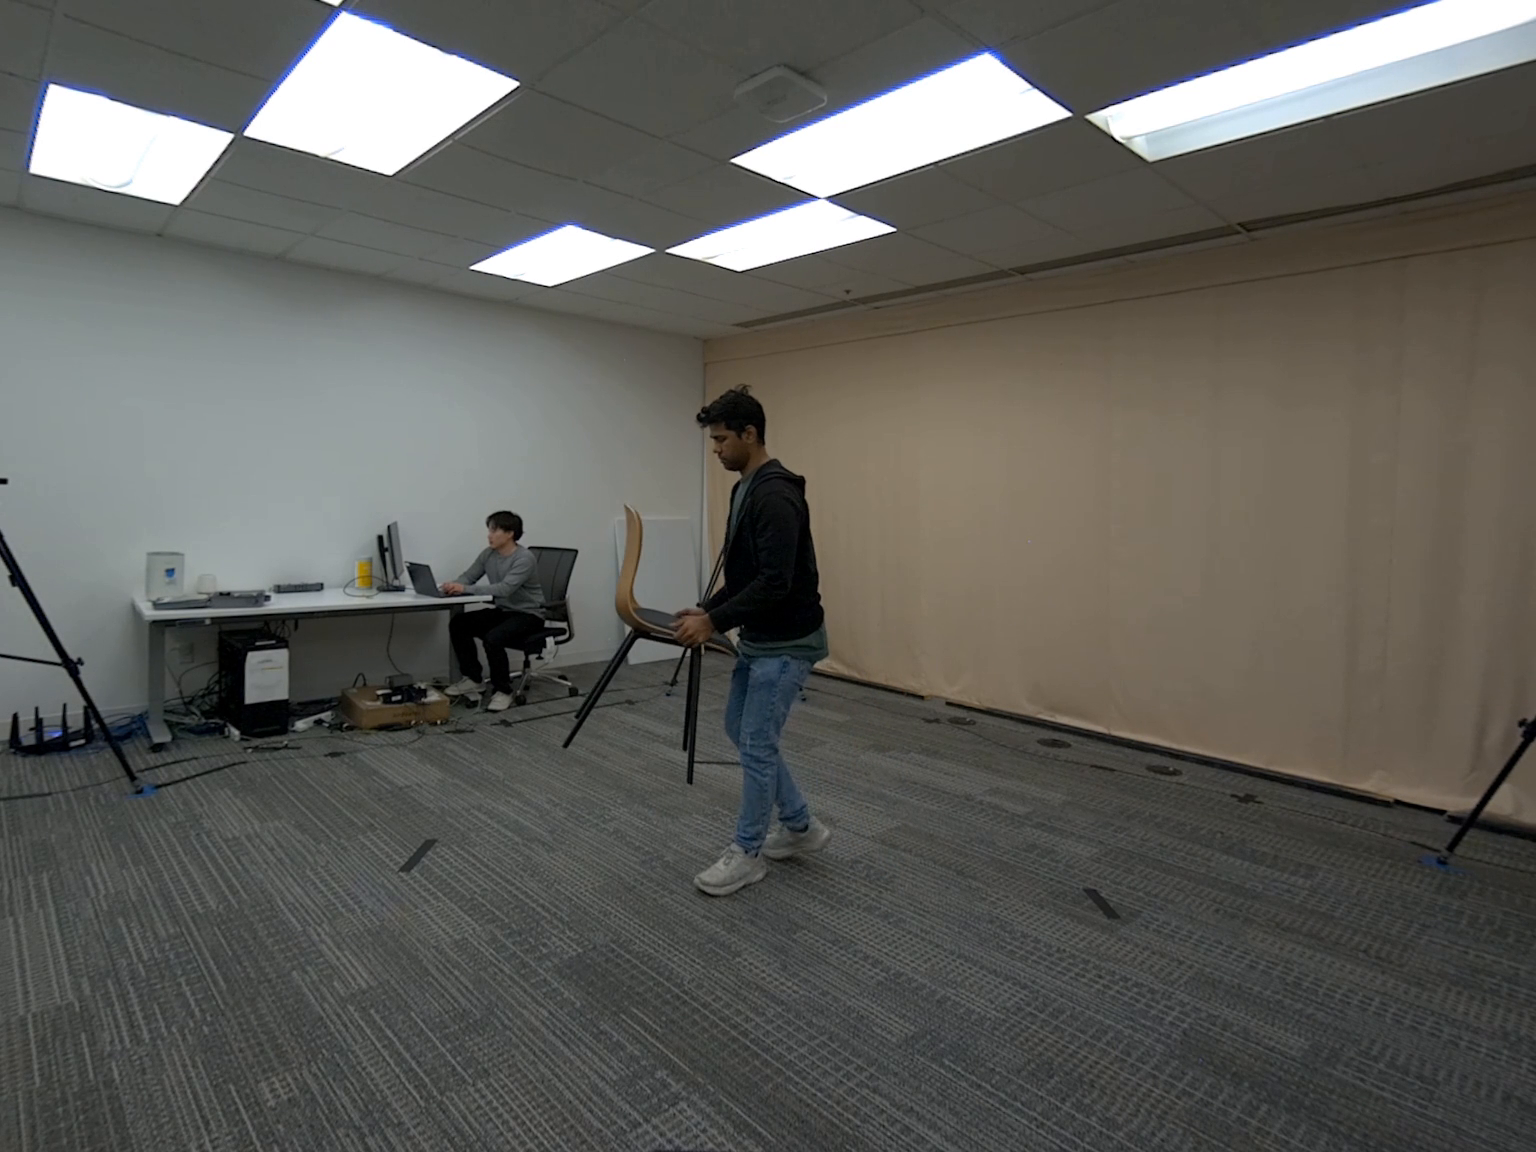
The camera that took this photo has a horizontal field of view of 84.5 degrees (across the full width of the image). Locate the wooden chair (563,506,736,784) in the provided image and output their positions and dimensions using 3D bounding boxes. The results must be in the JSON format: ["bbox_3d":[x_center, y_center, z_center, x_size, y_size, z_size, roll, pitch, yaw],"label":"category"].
[{"bbox_3d":[-0.372,0.233,3.059,0.519,0.878,0.481,13,-2,-8],"label":"wooden chair"}]
